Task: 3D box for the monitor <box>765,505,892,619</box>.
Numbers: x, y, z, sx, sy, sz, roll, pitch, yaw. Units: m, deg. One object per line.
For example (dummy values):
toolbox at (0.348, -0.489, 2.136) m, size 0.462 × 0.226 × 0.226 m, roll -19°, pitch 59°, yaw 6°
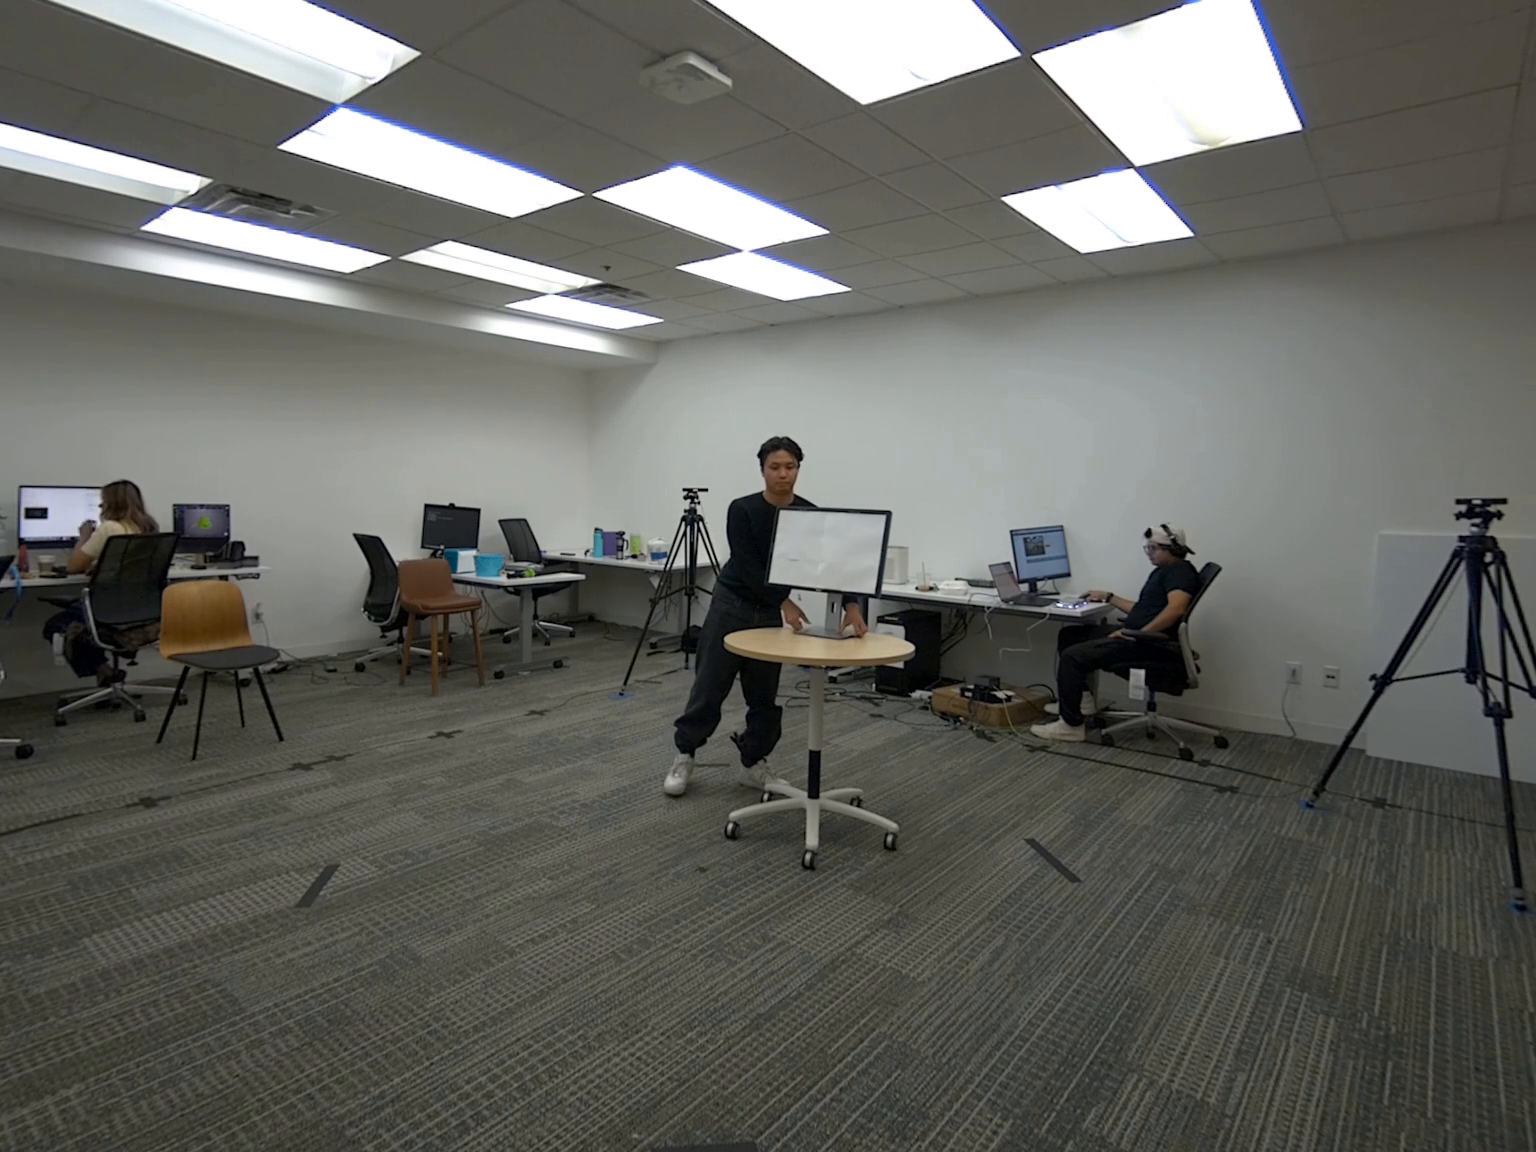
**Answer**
monitor at (0.264, -0.024, 3.645) m, size 0.556 × 0.521 × 0.182 m, roll 4°, pitch 3°, yaw 35°
